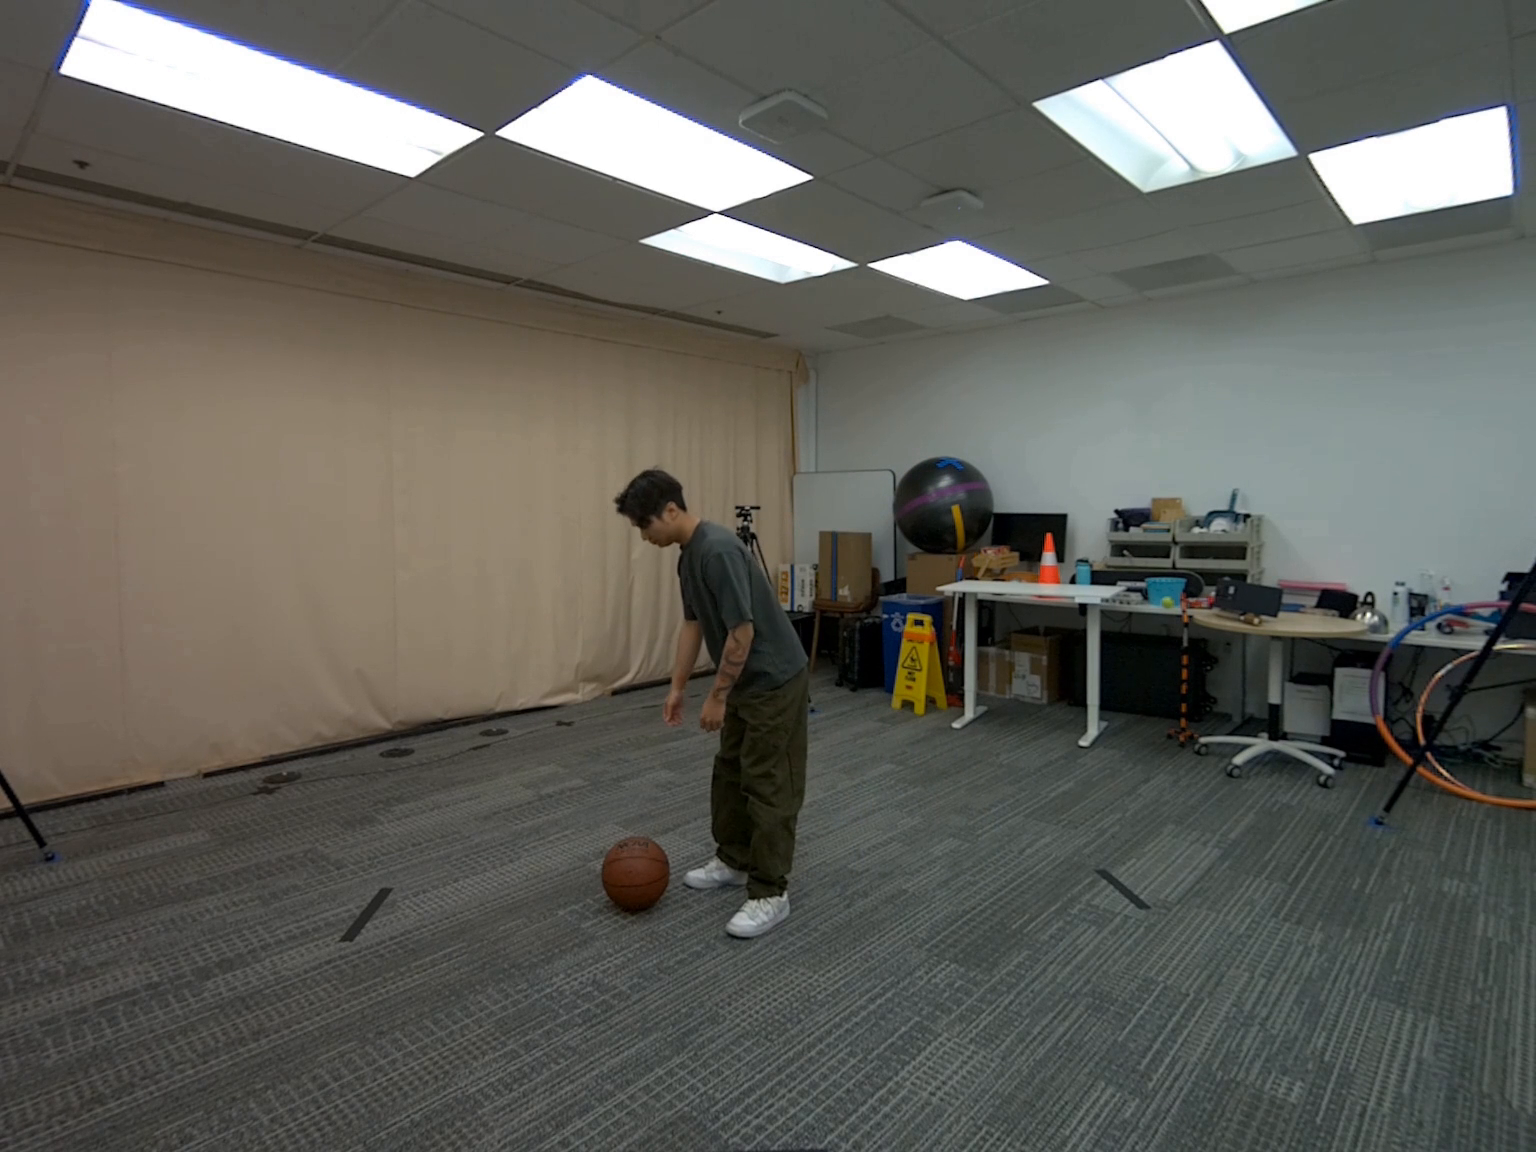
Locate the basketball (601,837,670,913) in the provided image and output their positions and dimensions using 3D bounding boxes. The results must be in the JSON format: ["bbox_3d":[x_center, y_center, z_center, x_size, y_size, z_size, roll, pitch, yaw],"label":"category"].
[{"bbox_3d":[-0.468,1.037,2.920,0.236,0.235,0.237,0,4,-2],"label":"basketball"}]
